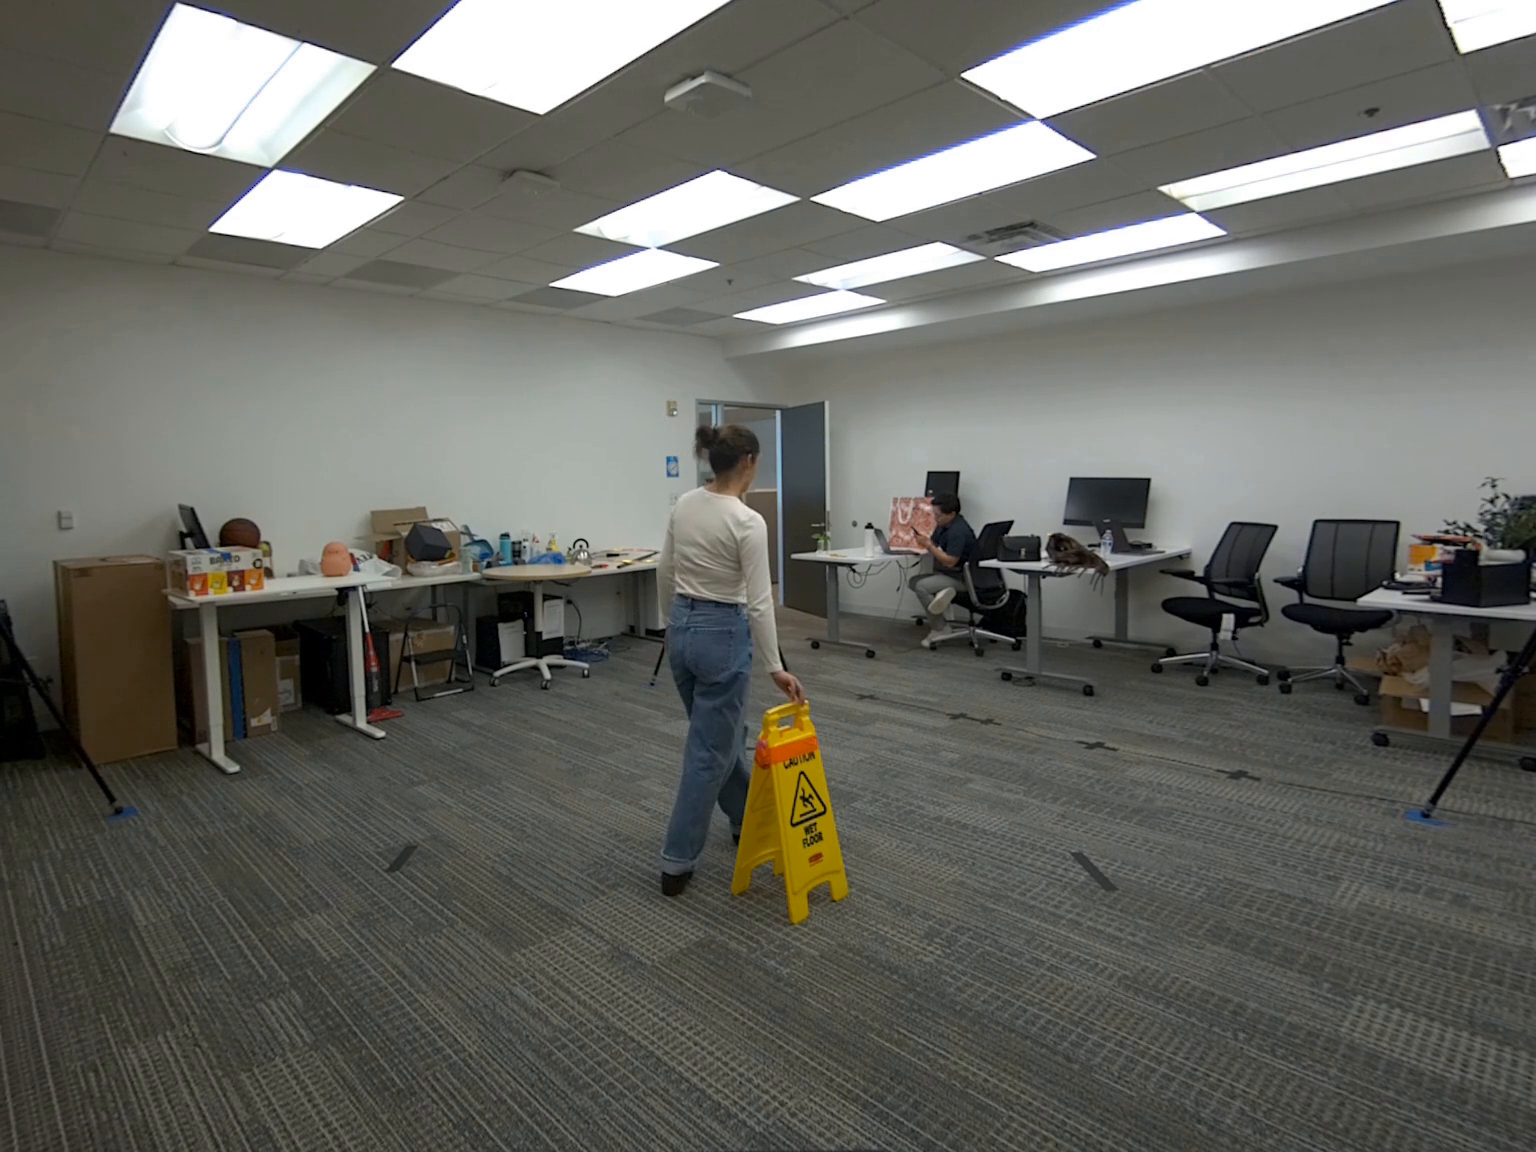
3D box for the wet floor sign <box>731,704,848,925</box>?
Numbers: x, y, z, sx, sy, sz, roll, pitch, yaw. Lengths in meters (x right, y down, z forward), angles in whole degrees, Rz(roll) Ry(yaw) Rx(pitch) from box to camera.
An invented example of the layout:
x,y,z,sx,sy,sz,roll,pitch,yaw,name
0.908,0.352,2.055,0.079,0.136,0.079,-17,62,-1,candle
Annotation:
x,y,z,sx,sy,sz,roll,pitch,yaw,name
0.072,0.746,2.846,0.275,0.643,0.299,-5,6,-43,wet floor sign
